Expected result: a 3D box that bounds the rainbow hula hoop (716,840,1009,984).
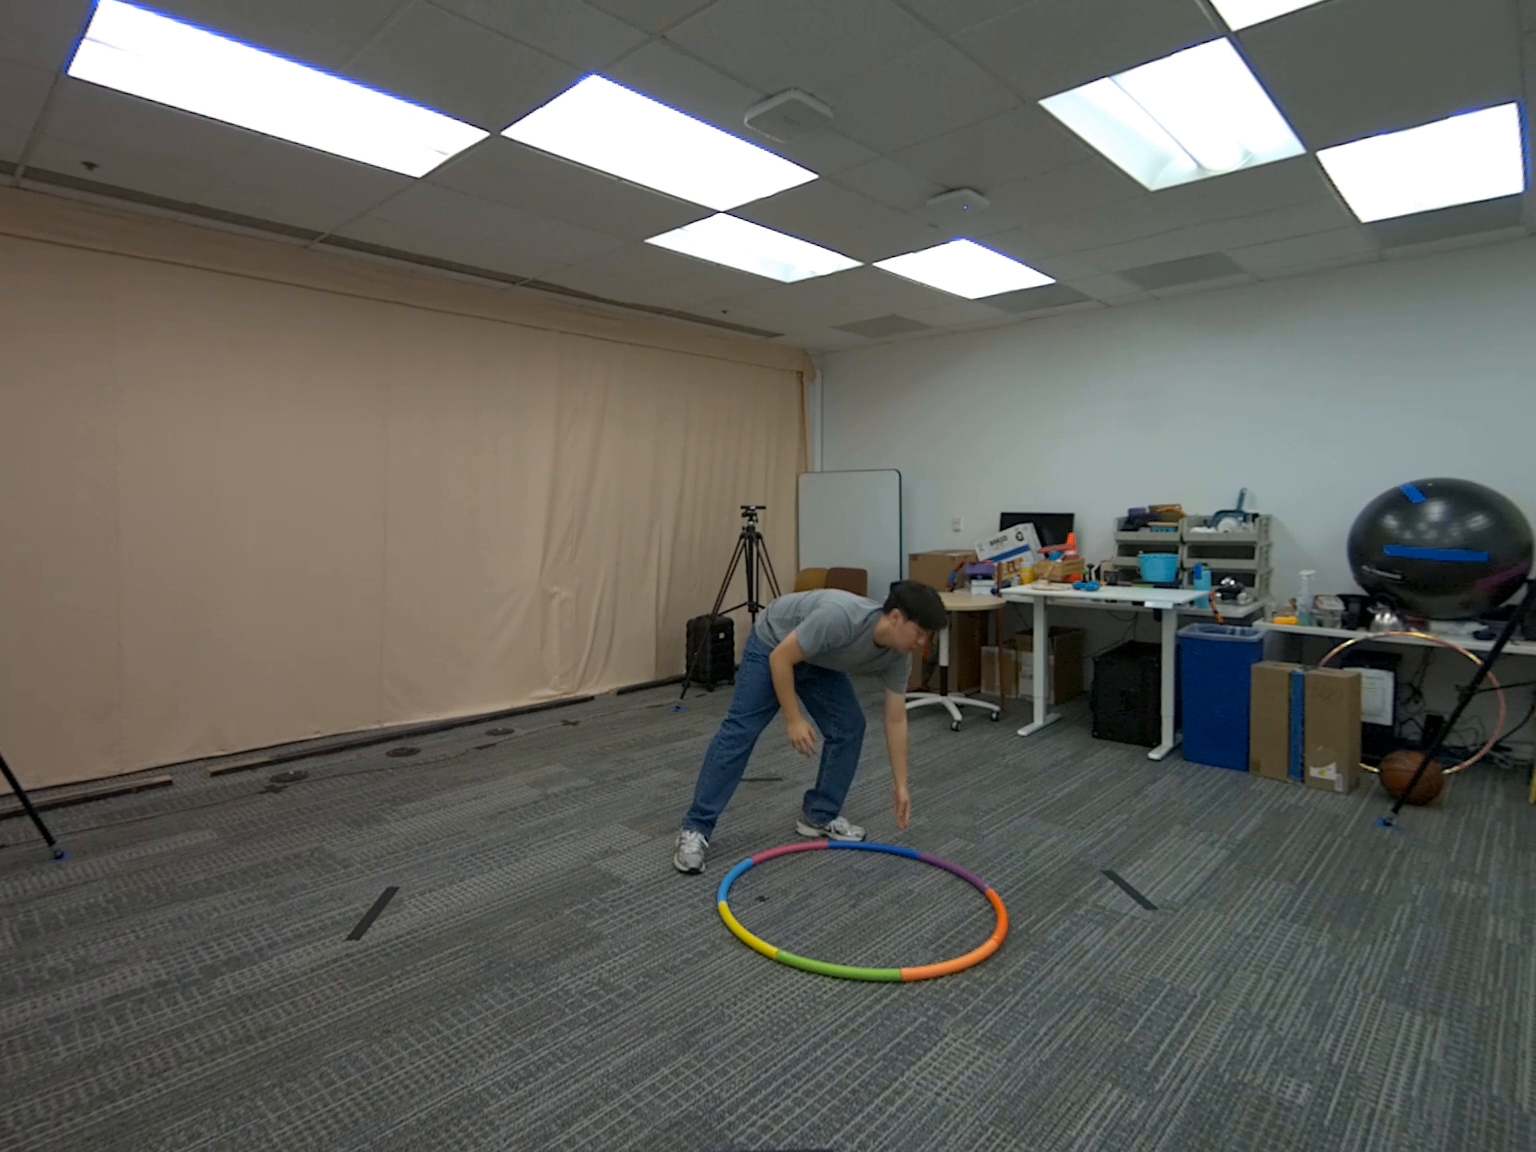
[{"bbox_3d":[0.316,1.117,2.942,0.978,0.035,0.982,0,5,-2],"label":"rainbow hula hoop"}]
